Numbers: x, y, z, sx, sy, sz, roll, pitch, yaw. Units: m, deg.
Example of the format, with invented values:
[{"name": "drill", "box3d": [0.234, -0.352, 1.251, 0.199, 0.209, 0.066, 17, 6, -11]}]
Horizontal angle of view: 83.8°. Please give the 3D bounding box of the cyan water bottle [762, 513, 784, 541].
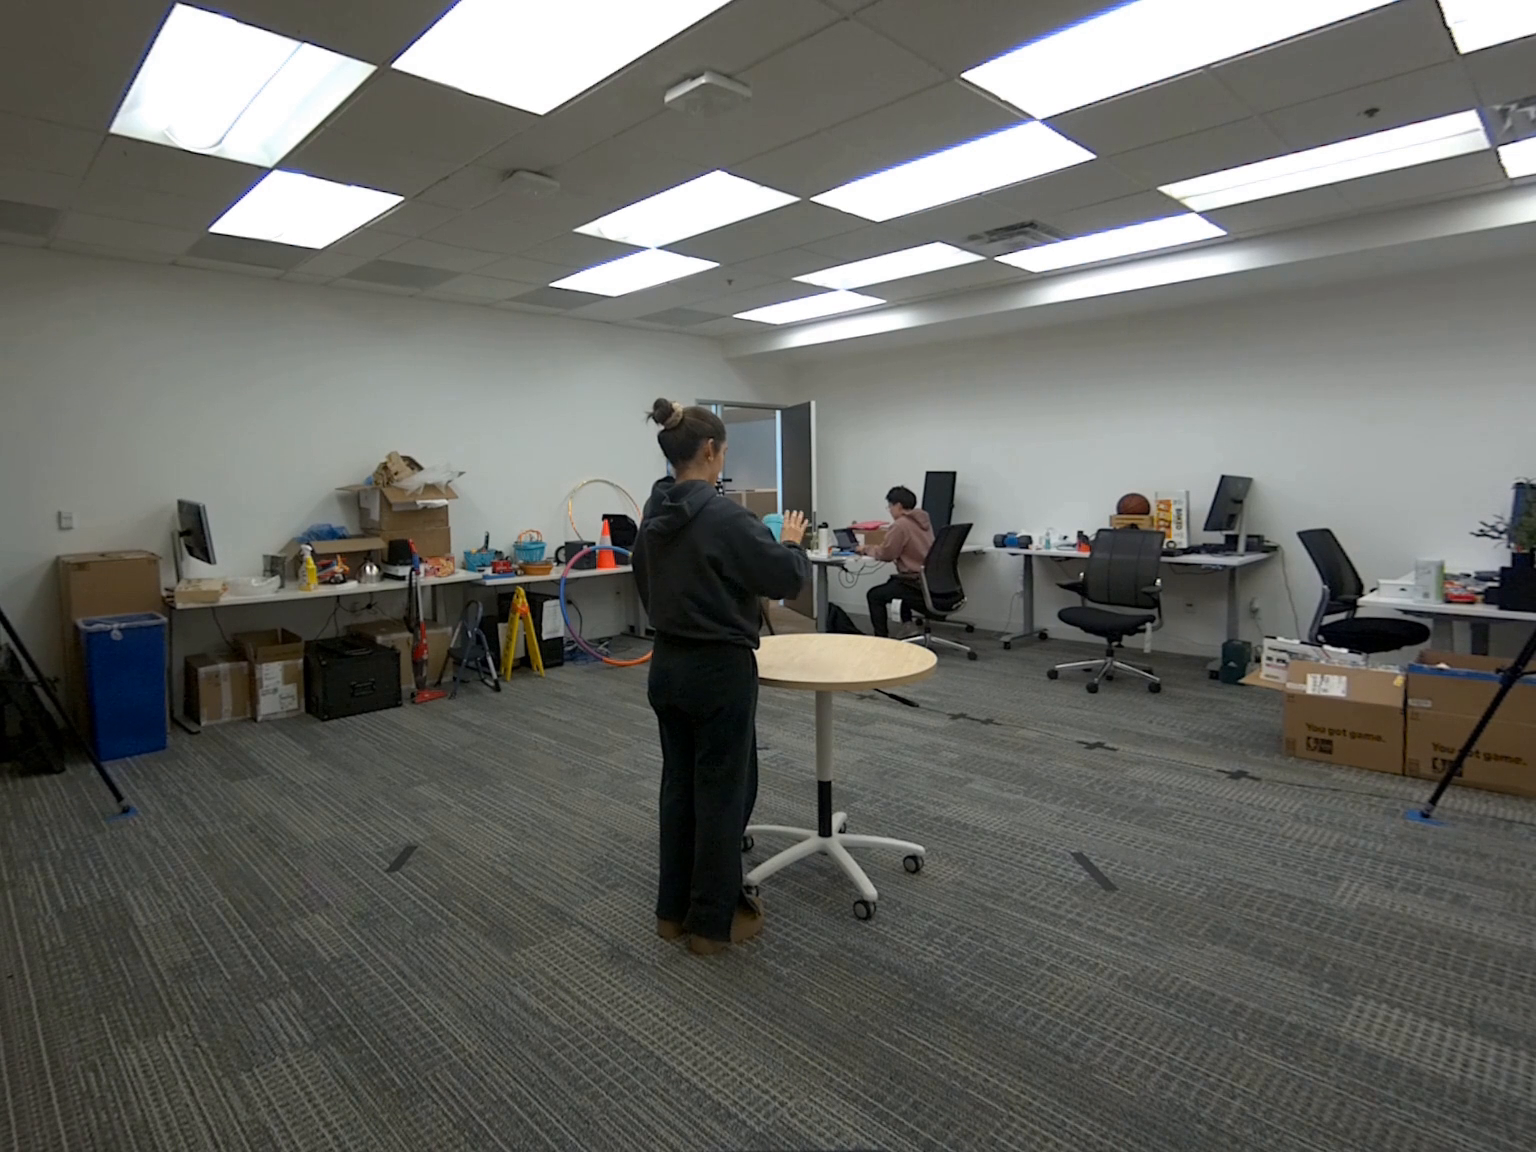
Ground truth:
[{"name": "cyan water bottle", "box3d": [0.015, -0.057, 2.765, 0.092, 0.288, 0.090, 6, -22, 1]}]
